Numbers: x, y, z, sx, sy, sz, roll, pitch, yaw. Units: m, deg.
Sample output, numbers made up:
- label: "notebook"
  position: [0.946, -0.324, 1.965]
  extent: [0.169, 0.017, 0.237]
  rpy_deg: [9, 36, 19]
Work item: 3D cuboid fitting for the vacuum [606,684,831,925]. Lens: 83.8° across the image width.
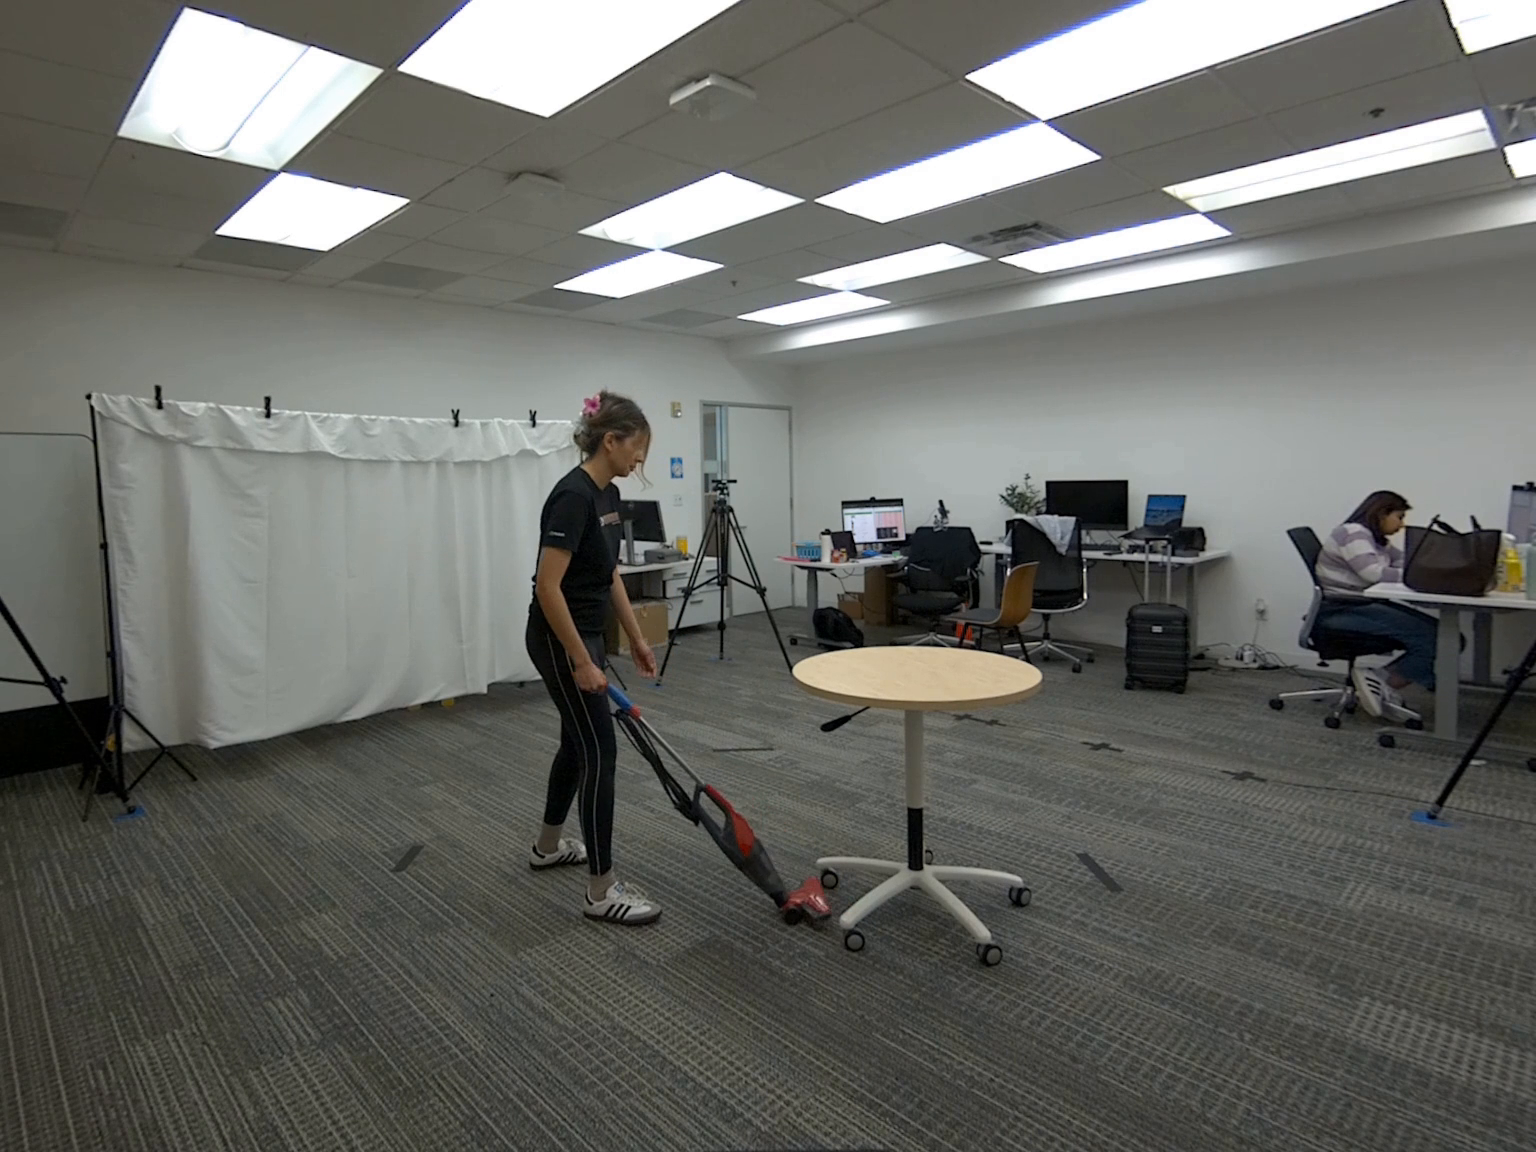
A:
- label: "vacuum"
  position: [-0.242, 0.686, 2.710]
  extent: [0.144, 1.044, 0.254]
  rpy_deg: [-44, 4, 4]
